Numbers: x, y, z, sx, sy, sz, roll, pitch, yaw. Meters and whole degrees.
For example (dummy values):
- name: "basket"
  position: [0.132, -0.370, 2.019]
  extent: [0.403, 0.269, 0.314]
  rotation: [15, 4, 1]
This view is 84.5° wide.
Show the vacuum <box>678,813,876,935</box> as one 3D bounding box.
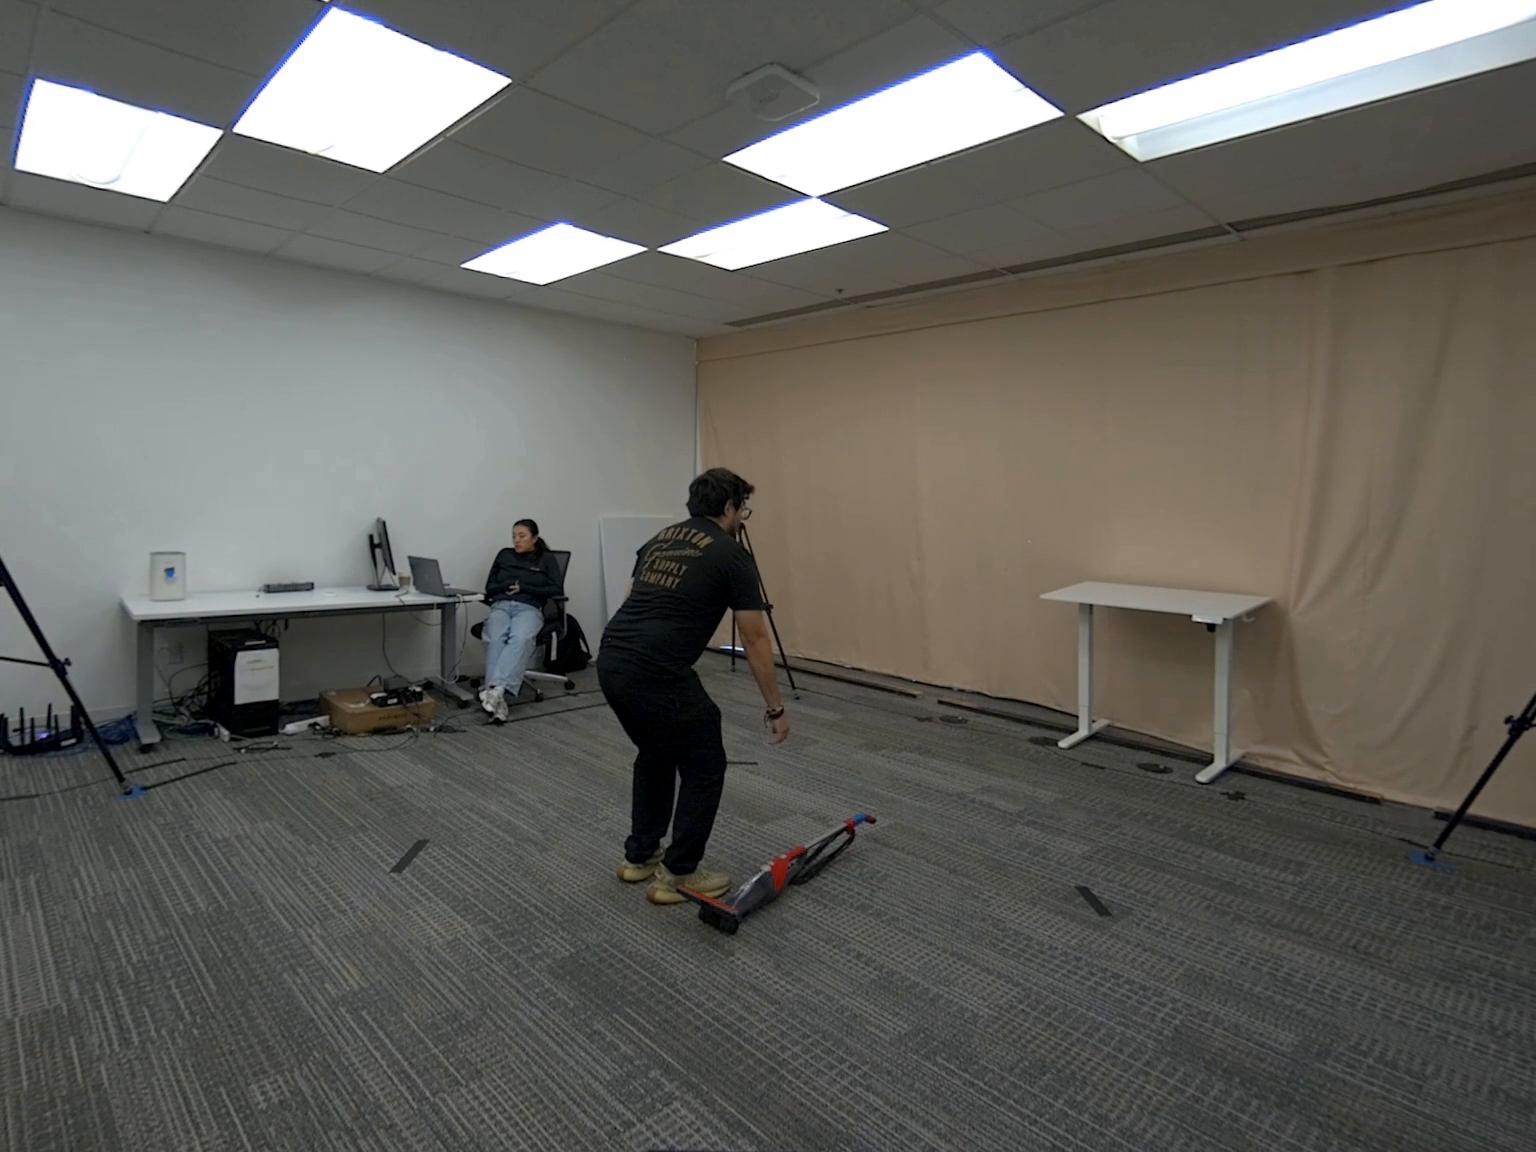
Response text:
- name: "vacuum"
  position: [0.122, 1.050, 3.095]
  extent: [0.259, 0.143, 1.026]
  rotation: [6, 6, 37]
